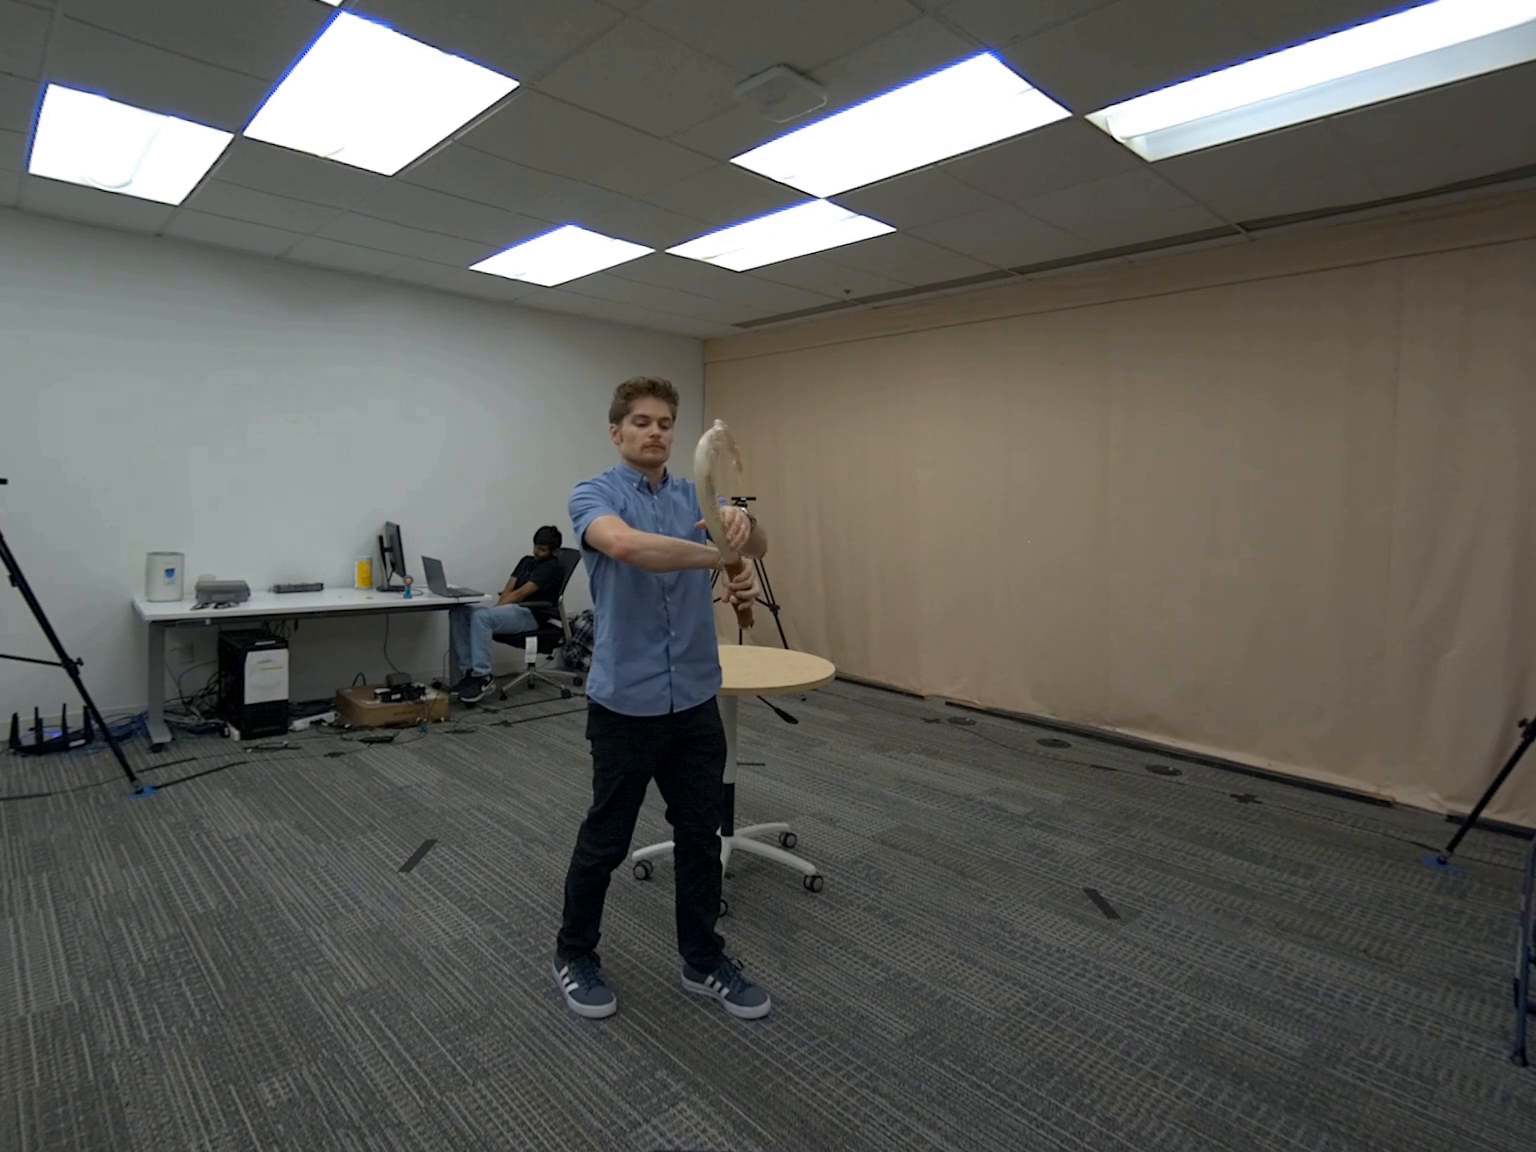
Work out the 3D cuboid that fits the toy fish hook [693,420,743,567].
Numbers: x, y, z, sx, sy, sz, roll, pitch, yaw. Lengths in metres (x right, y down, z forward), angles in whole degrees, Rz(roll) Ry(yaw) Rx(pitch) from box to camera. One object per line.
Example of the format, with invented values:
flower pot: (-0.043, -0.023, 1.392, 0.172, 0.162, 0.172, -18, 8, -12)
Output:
toy fish hook: (-0.091, -0.105, 1.905, 0.049, 0.494, 0.225, 9, 39, 25)
